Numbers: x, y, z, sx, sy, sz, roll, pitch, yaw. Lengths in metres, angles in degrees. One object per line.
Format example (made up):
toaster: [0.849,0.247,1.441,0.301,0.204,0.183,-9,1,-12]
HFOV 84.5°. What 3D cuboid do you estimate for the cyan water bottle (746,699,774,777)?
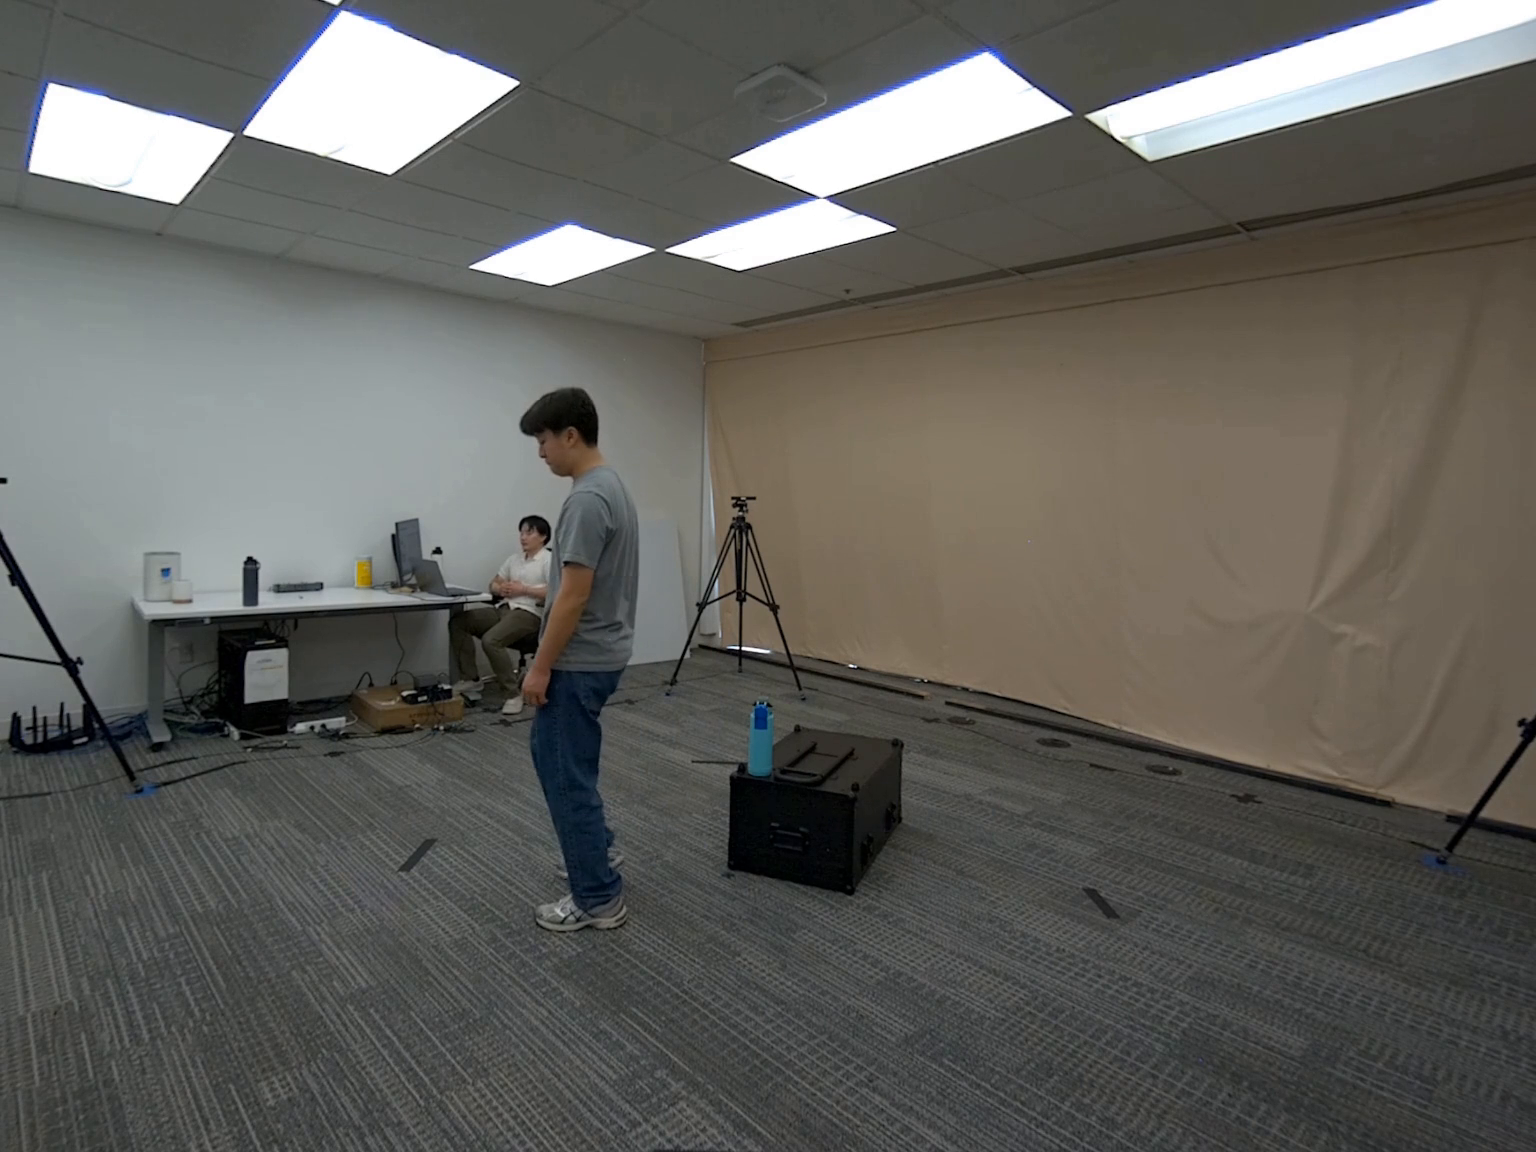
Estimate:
cyan water bottle: [-0.029,0.602,3.169,0.092,0.283,0.092,3,3,-2]
